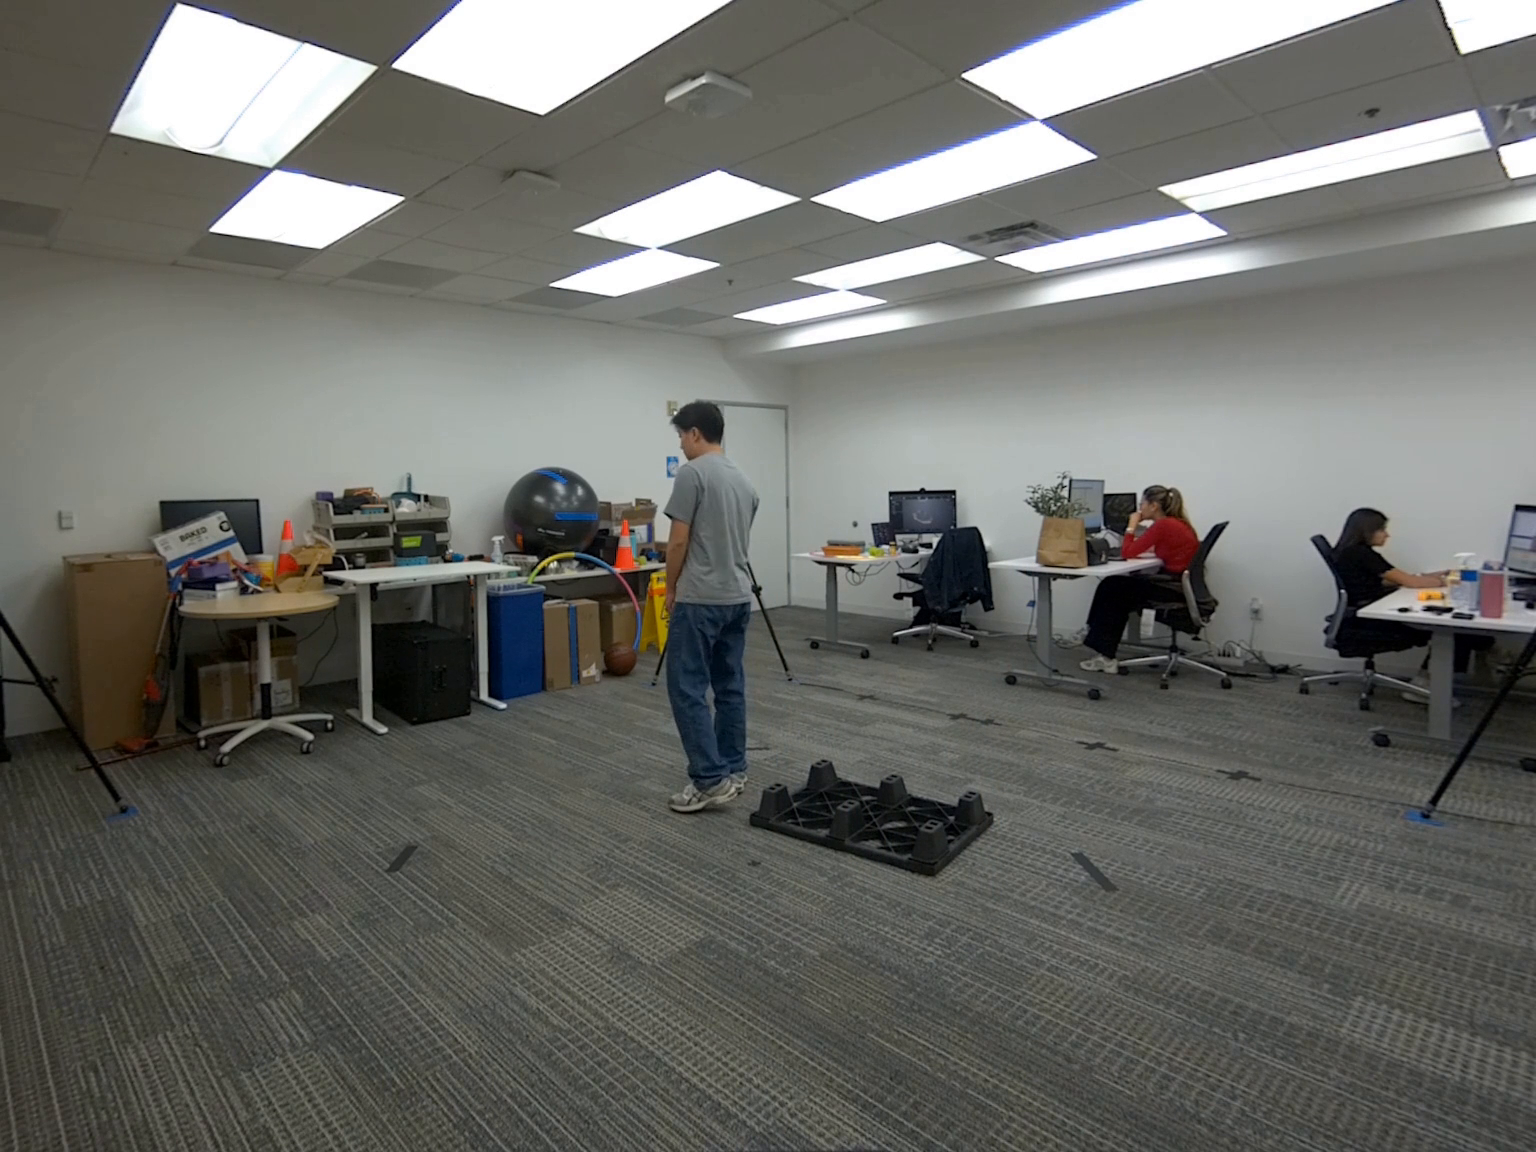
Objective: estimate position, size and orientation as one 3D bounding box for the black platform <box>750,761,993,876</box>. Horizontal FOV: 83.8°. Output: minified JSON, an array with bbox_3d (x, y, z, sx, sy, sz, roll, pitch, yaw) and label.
[{"bbox_3d":[0.421,0.932,3.440,0.829,0.142,0.590,4,8,36],"label":"black platform"}]
